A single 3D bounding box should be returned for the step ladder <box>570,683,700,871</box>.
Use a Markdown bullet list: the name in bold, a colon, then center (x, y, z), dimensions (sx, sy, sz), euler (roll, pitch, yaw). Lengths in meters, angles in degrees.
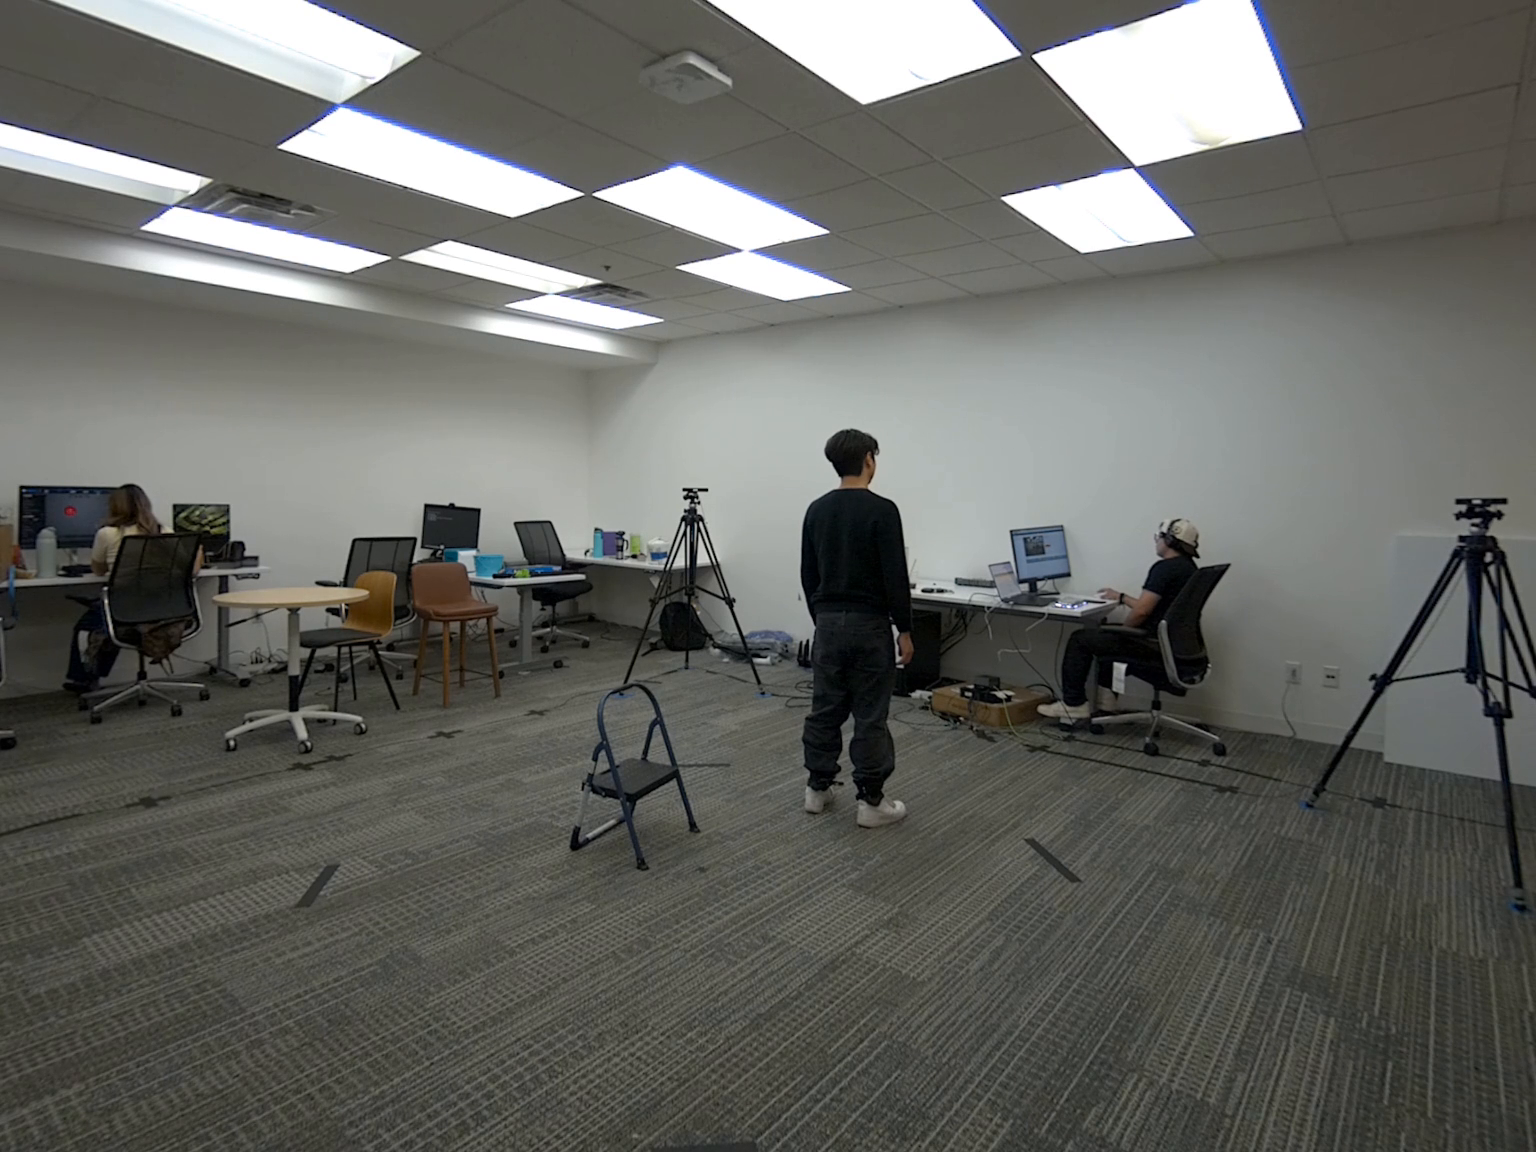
- **step ladder**: center (-0.523, 0.738, 3.341), dimensions (0.358, 0.604, 0.421), euler (3, 4, 25)
